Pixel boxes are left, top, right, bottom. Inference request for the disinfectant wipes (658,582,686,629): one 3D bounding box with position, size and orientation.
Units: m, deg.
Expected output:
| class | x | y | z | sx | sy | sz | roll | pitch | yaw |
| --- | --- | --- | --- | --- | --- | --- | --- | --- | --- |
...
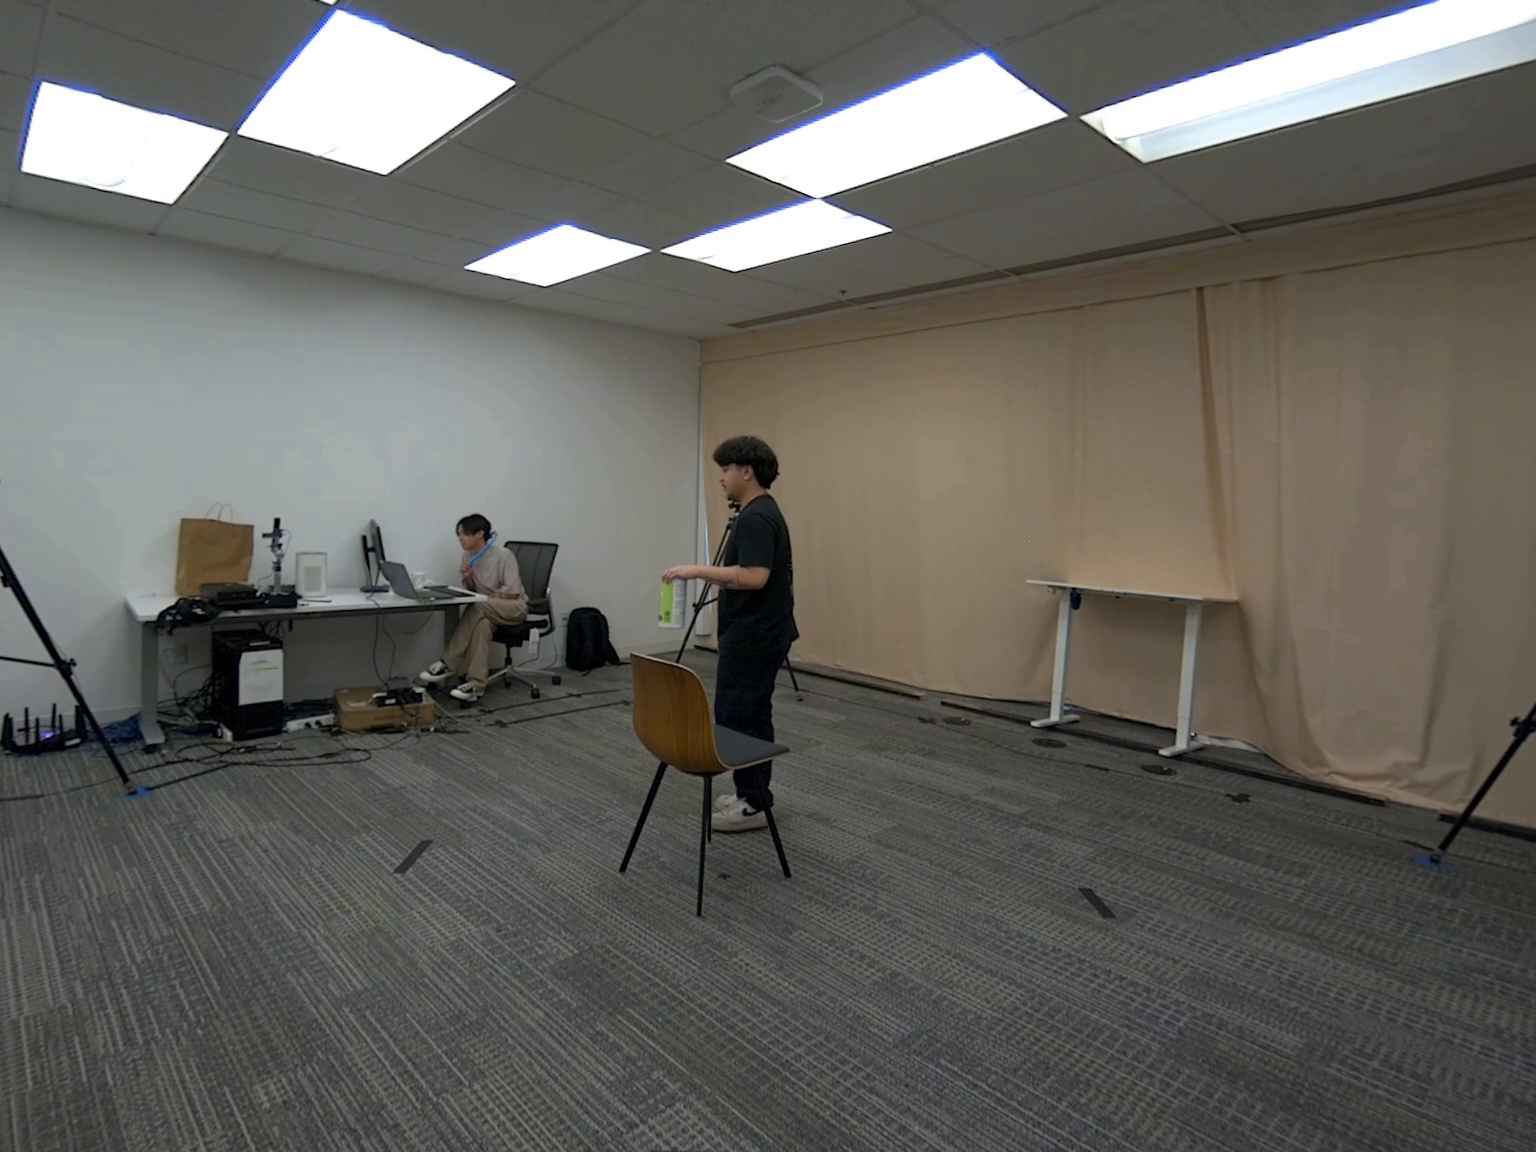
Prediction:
| class | x | y | z | sx | sy | sz | roll | pitch | yaw |
| --- | --- | --- | --- | --- | --- | --- | --- | --- | --- |
| disinfectant wipes | -0.396 | 0.108 | 3.457 | 0.118 | 0.217 | 0.118 | 6 | 1 | -2 |
